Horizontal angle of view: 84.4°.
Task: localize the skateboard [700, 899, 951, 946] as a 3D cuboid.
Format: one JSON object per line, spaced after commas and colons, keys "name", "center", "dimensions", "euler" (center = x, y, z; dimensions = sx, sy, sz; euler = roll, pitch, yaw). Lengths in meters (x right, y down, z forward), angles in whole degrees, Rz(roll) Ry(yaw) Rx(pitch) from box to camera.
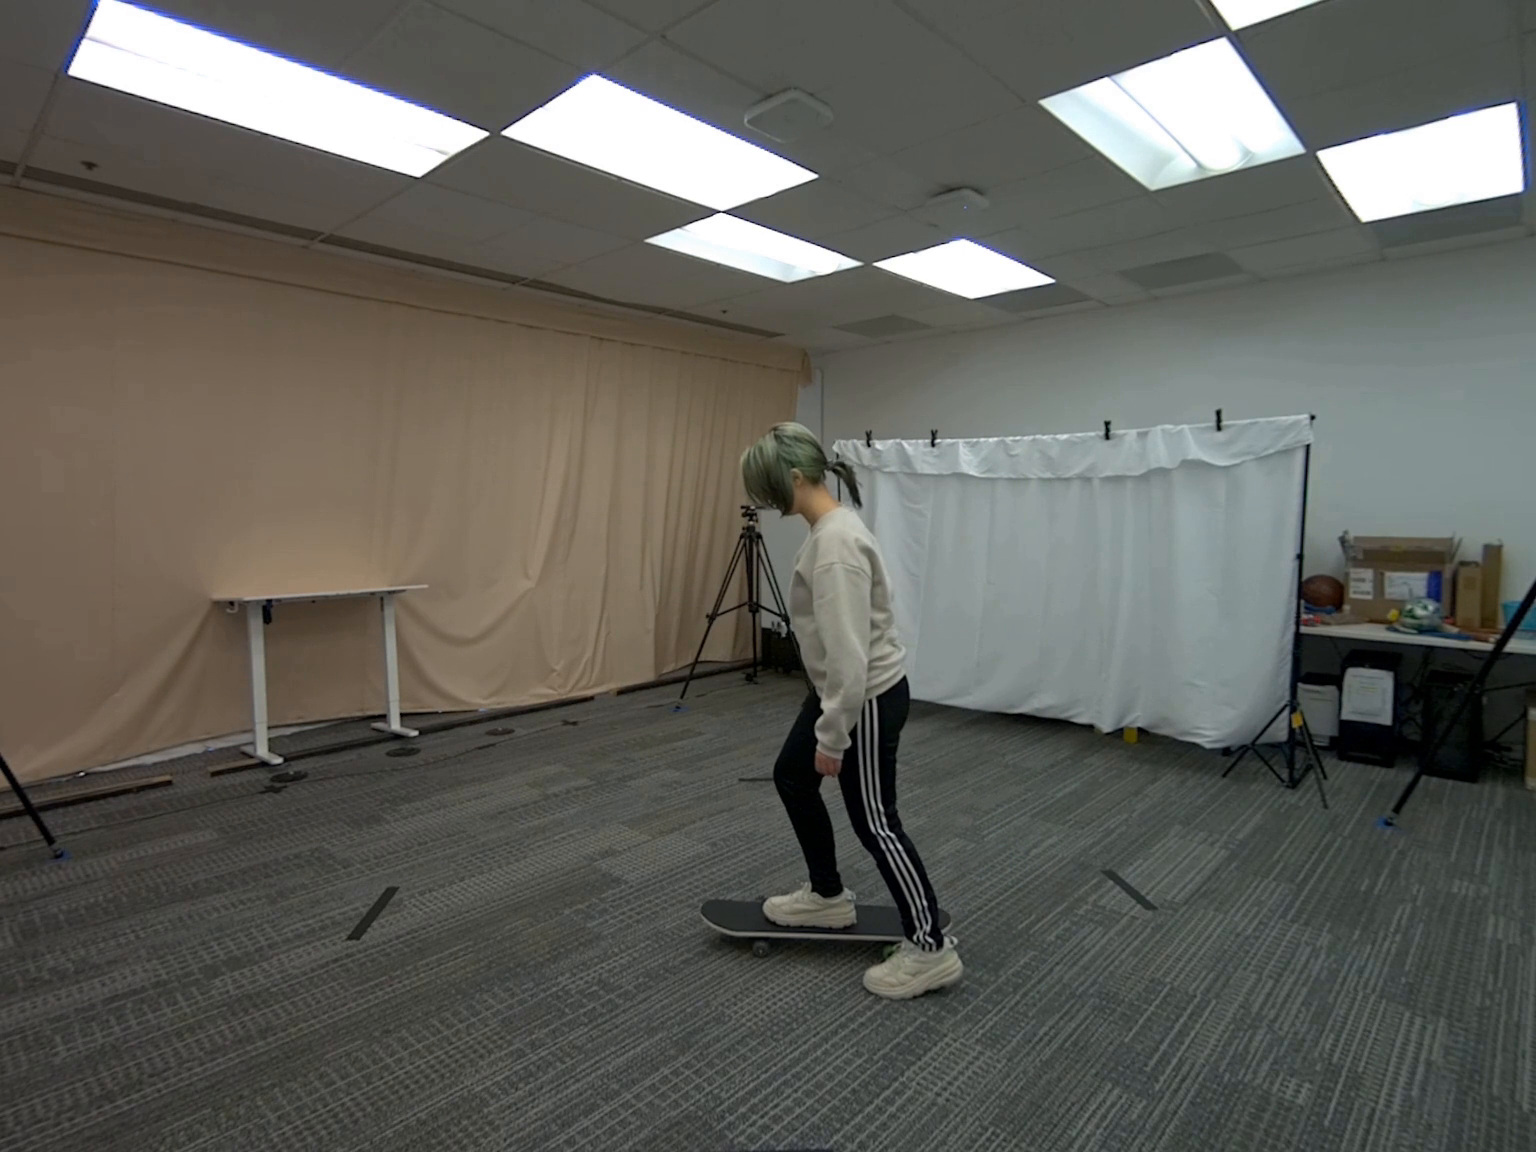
{"name": "skateboard", "center": [0.179, 1.117, 2.662], "dimensions": [0.788, 0.110, 0.193], "euler": [0, 6, 3]}
